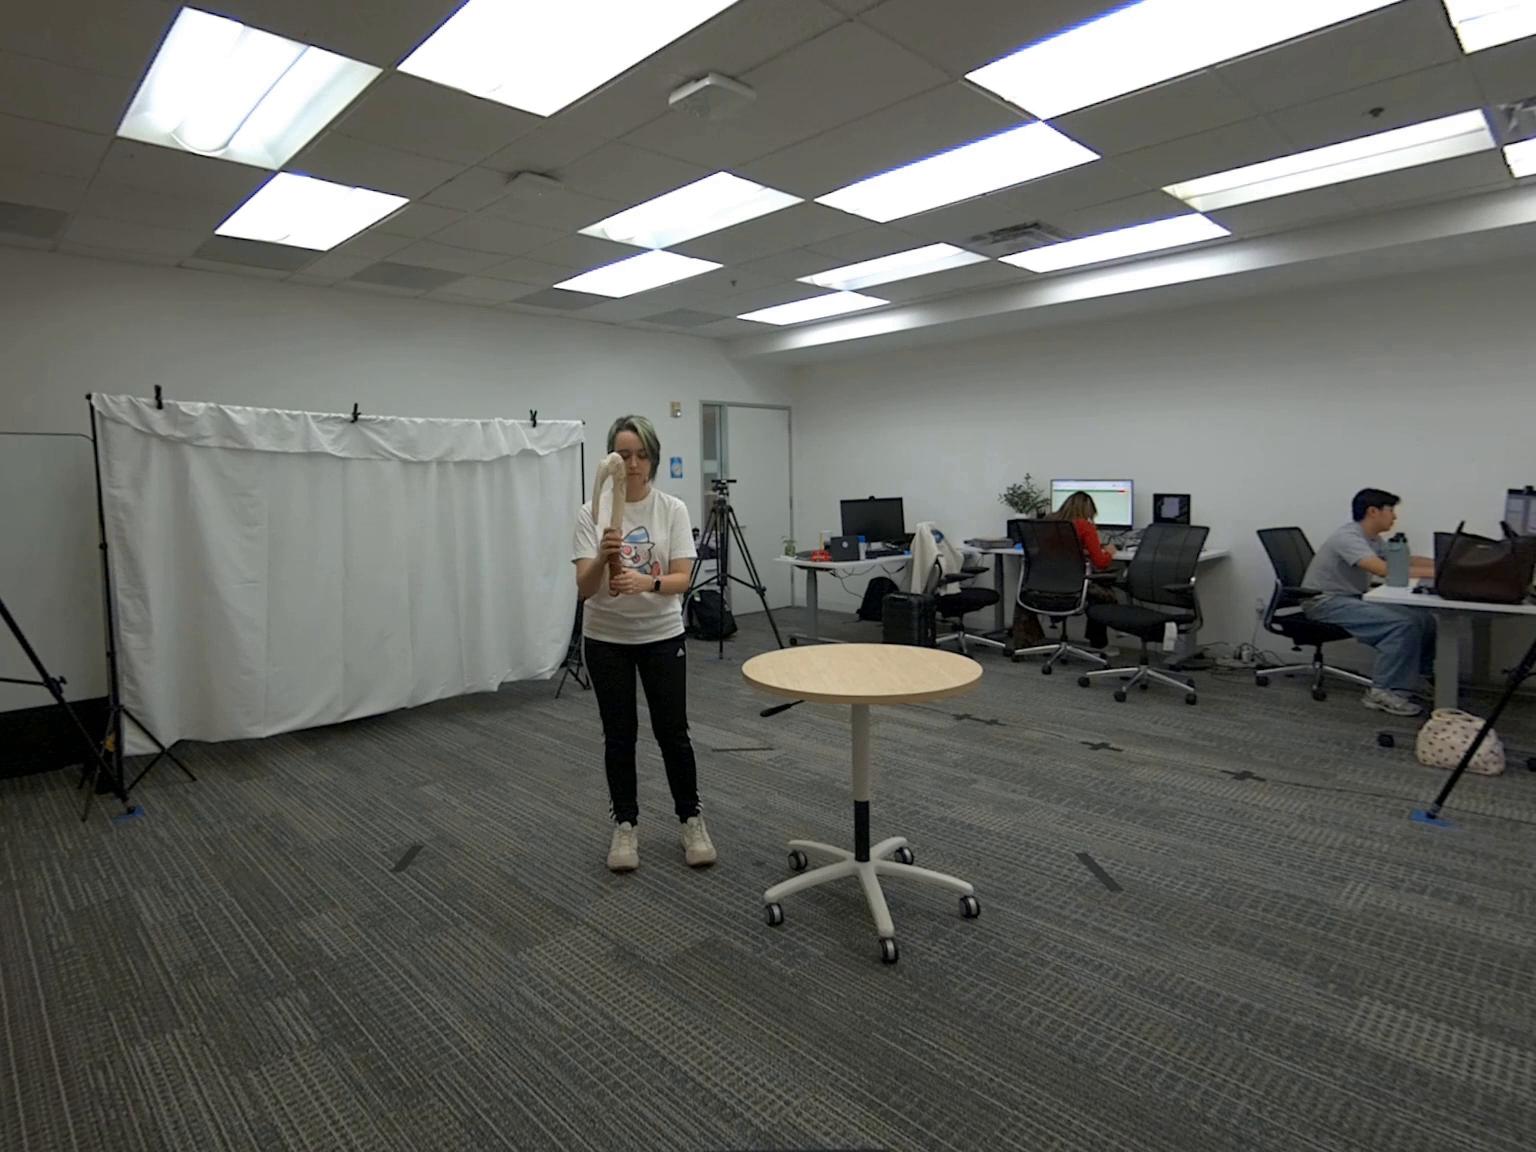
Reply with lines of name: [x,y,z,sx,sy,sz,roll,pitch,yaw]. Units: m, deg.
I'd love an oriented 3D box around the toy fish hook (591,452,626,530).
toy fish hook: [-0.514,-0.131,2.709,0.049,0.496,0.224,10,26,17]
